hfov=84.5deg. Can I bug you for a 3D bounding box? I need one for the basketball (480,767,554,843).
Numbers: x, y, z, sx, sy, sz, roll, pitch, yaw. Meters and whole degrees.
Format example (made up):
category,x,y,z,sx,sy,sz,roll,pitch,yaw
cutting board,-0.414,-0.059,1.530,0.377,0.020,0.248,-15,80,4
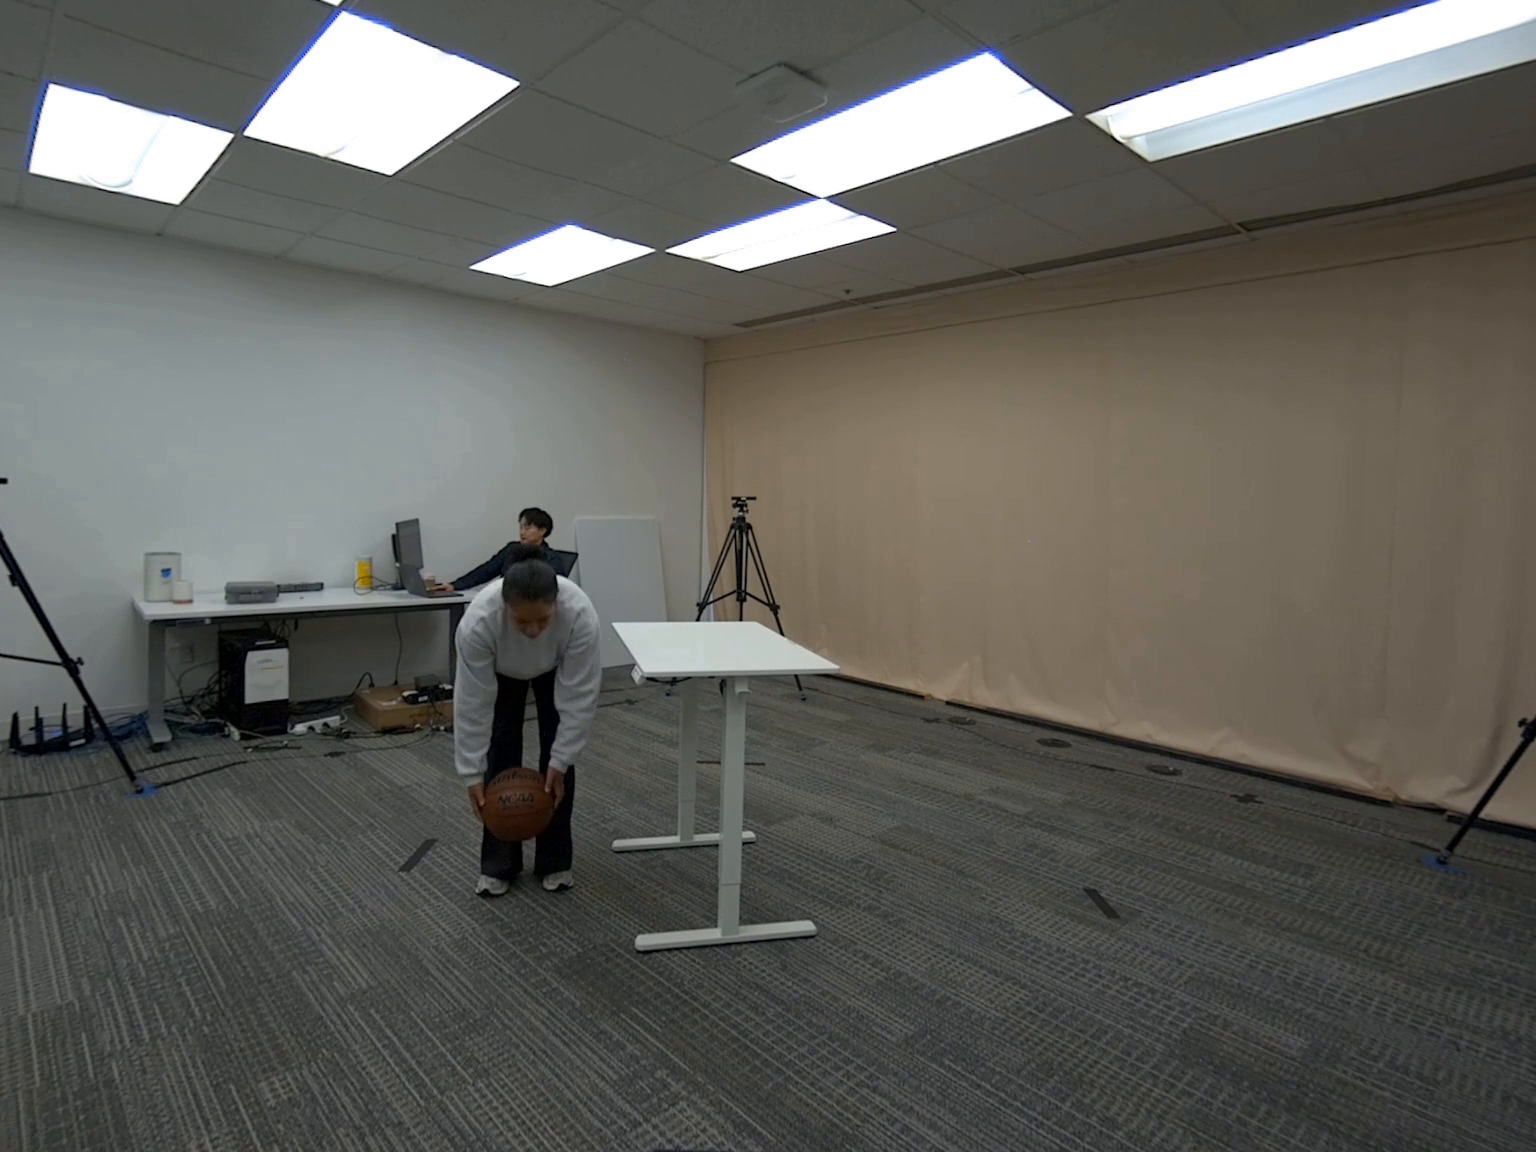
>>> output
category,x,y,z,sx,sy,sz,roll,pitch,yaw
basketball,-0.859,0.758,2.802,0.236,0.235,0.237,1,4,-1
